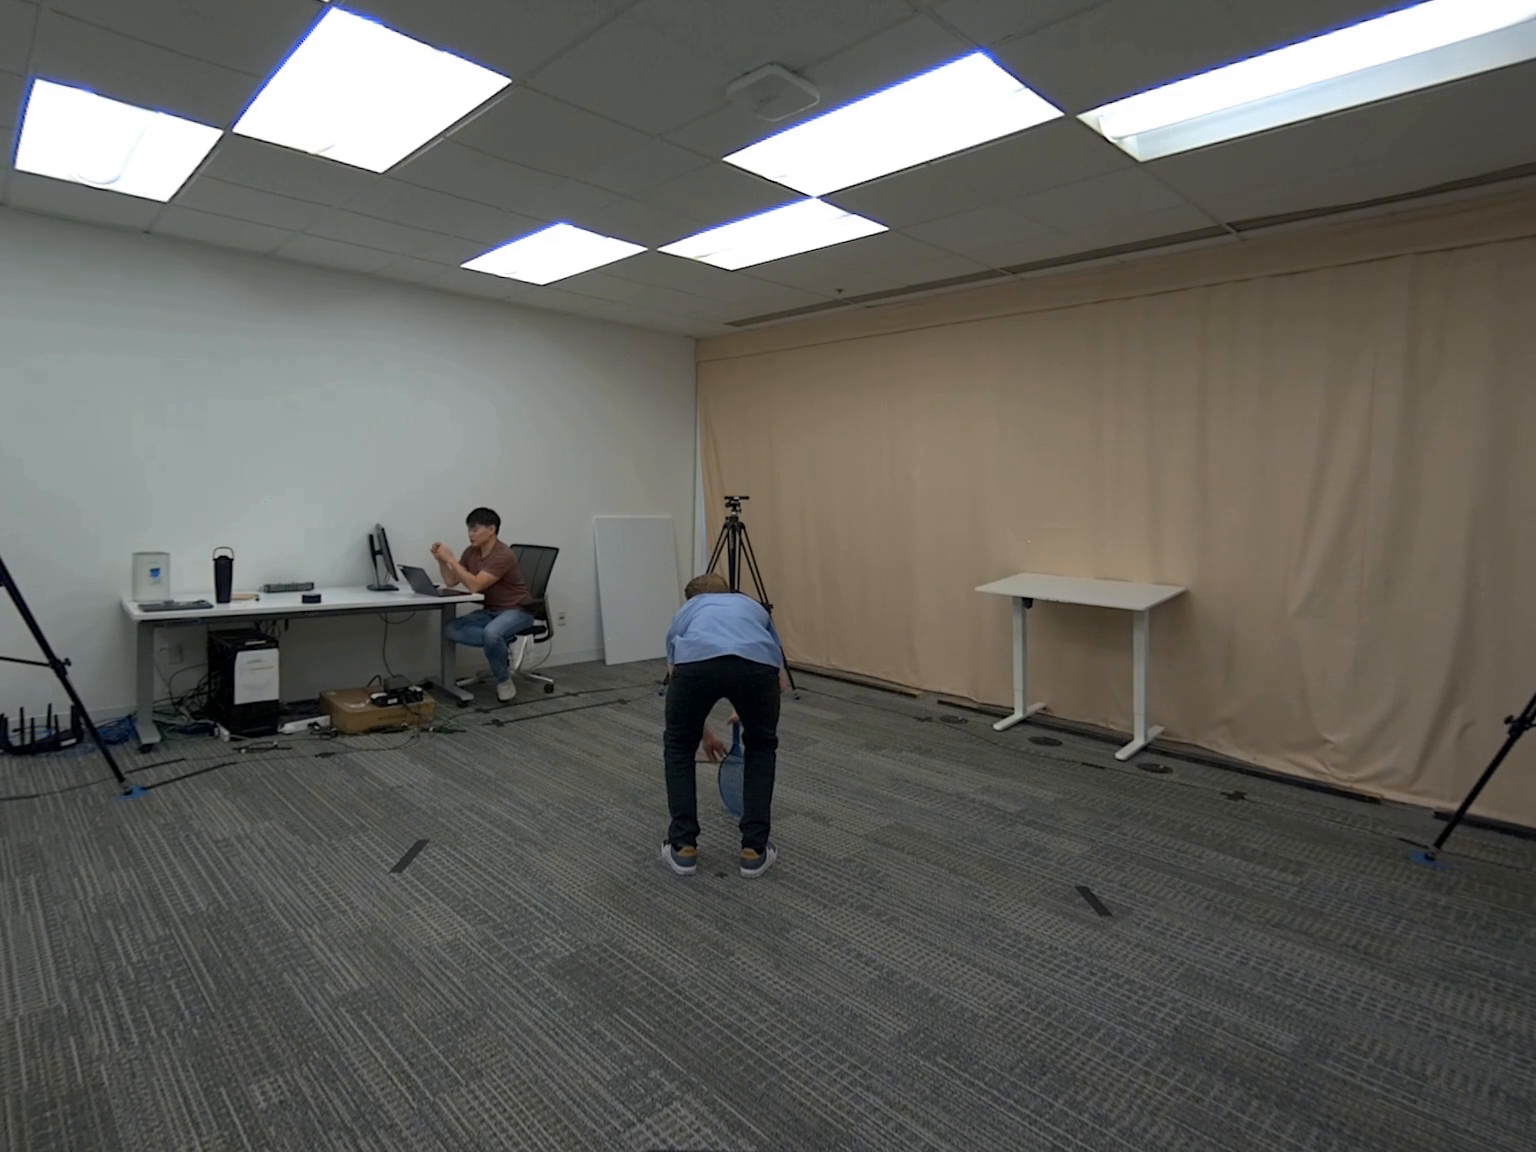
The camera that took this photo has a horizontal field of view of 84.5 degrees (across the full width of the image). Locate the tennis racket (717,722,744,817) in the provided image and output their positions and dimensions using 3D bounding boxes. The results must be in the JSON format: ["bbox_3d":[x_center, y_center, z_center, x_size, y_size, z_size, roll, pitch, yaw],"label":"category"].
[{"bbox_3d":[-0.143,0.832,3.709,0.219,0.432,0.031,5,4,39],"label":"tennis racket"}]
